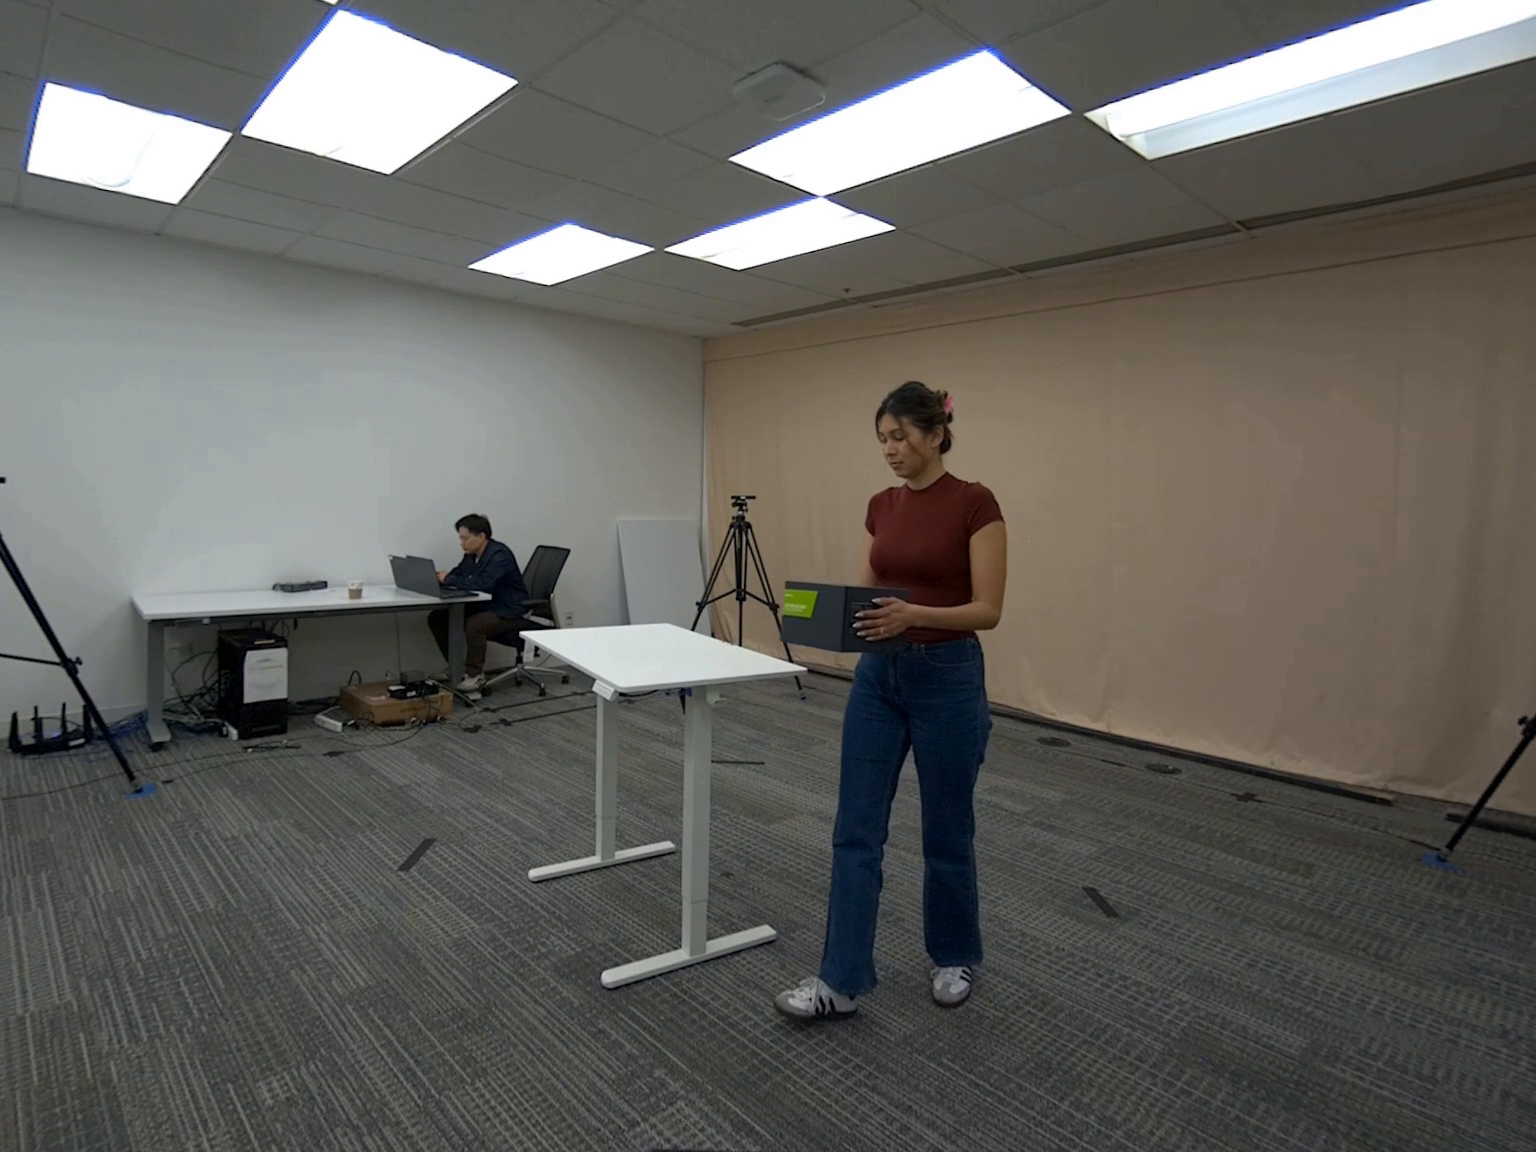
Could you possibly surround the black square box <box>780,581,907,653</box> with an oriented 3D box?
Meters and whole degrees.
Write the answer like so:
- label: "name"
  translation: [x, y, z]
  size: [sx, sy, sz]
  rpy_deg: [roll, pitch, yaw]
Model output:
- label: "black square box"
  translation: [0.182, 0.099, 2.089]
  size: [0.212, 0.156, 0.233]
  rpy_deg: [4, 0, -38]
